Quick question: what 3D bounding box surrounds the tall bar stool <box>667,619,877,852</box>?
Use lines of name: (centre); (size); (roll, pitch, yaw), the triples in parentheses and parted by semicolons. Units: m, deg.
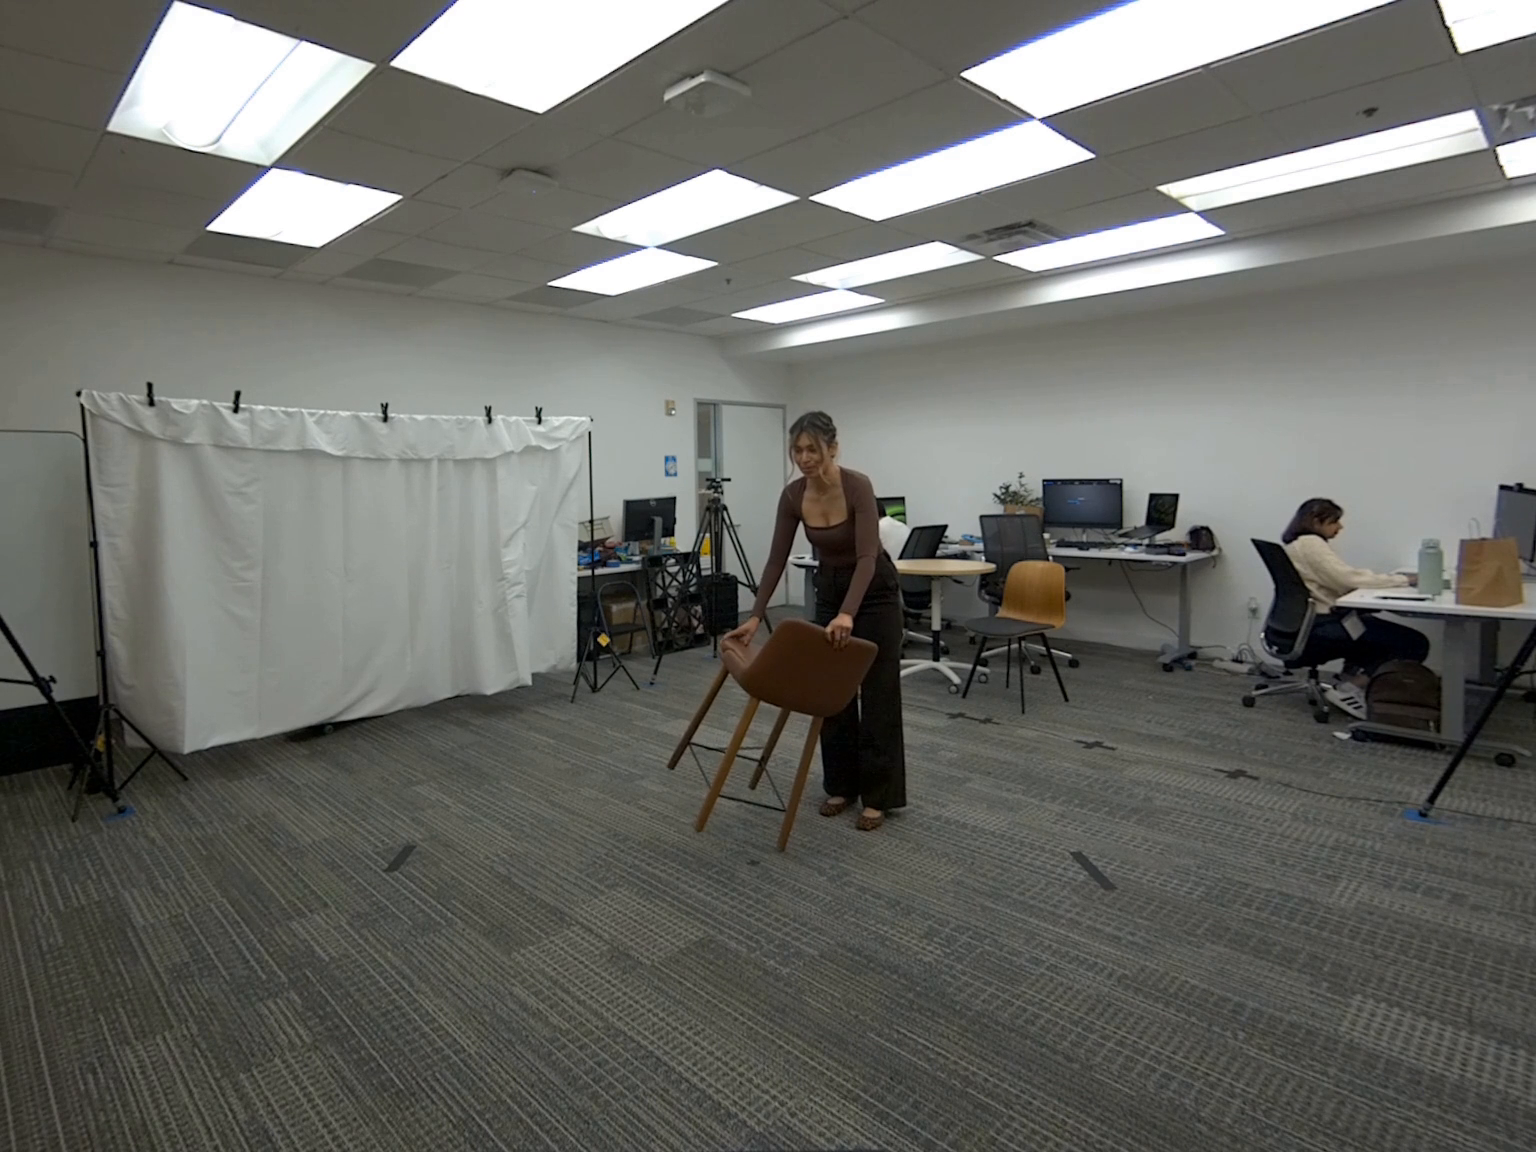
tall bar stool: (0.004, 0.516, 3.267); (0.446, 0.885, 0.481); (19, 12, -22)
